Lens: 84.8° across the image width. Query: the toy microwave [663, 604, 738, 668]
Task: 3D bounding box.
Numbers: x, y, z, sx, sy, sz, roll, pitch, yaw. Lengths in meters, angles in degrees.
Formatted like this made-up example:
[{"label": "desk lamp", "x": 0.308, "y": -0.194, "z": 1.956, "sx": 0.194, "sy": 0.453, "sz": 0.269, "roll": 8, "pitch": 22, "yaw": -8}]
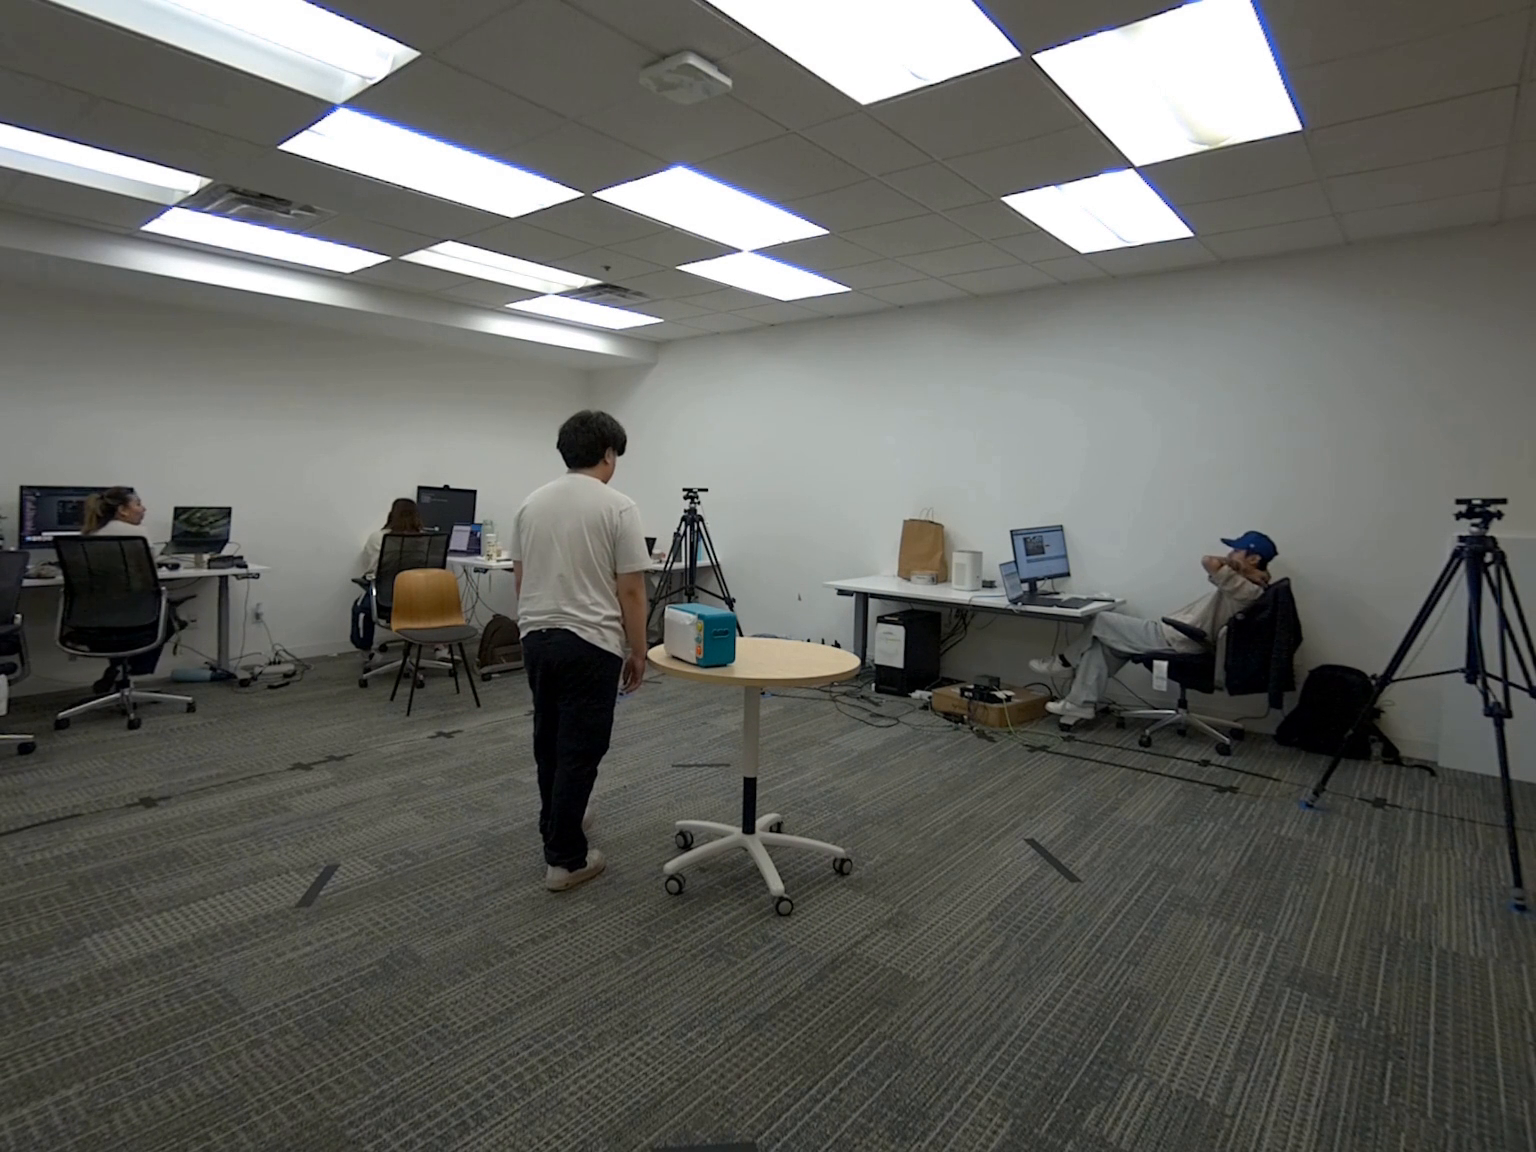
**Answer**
[{"label": "toy microwave", "x": -0.250, "y": 0.201, "z": 2.939, "sx": 0.148, "sy": 0.183, "sz": 0.295, "roll": -1, "pitch": 5, "yaw": -34}]
